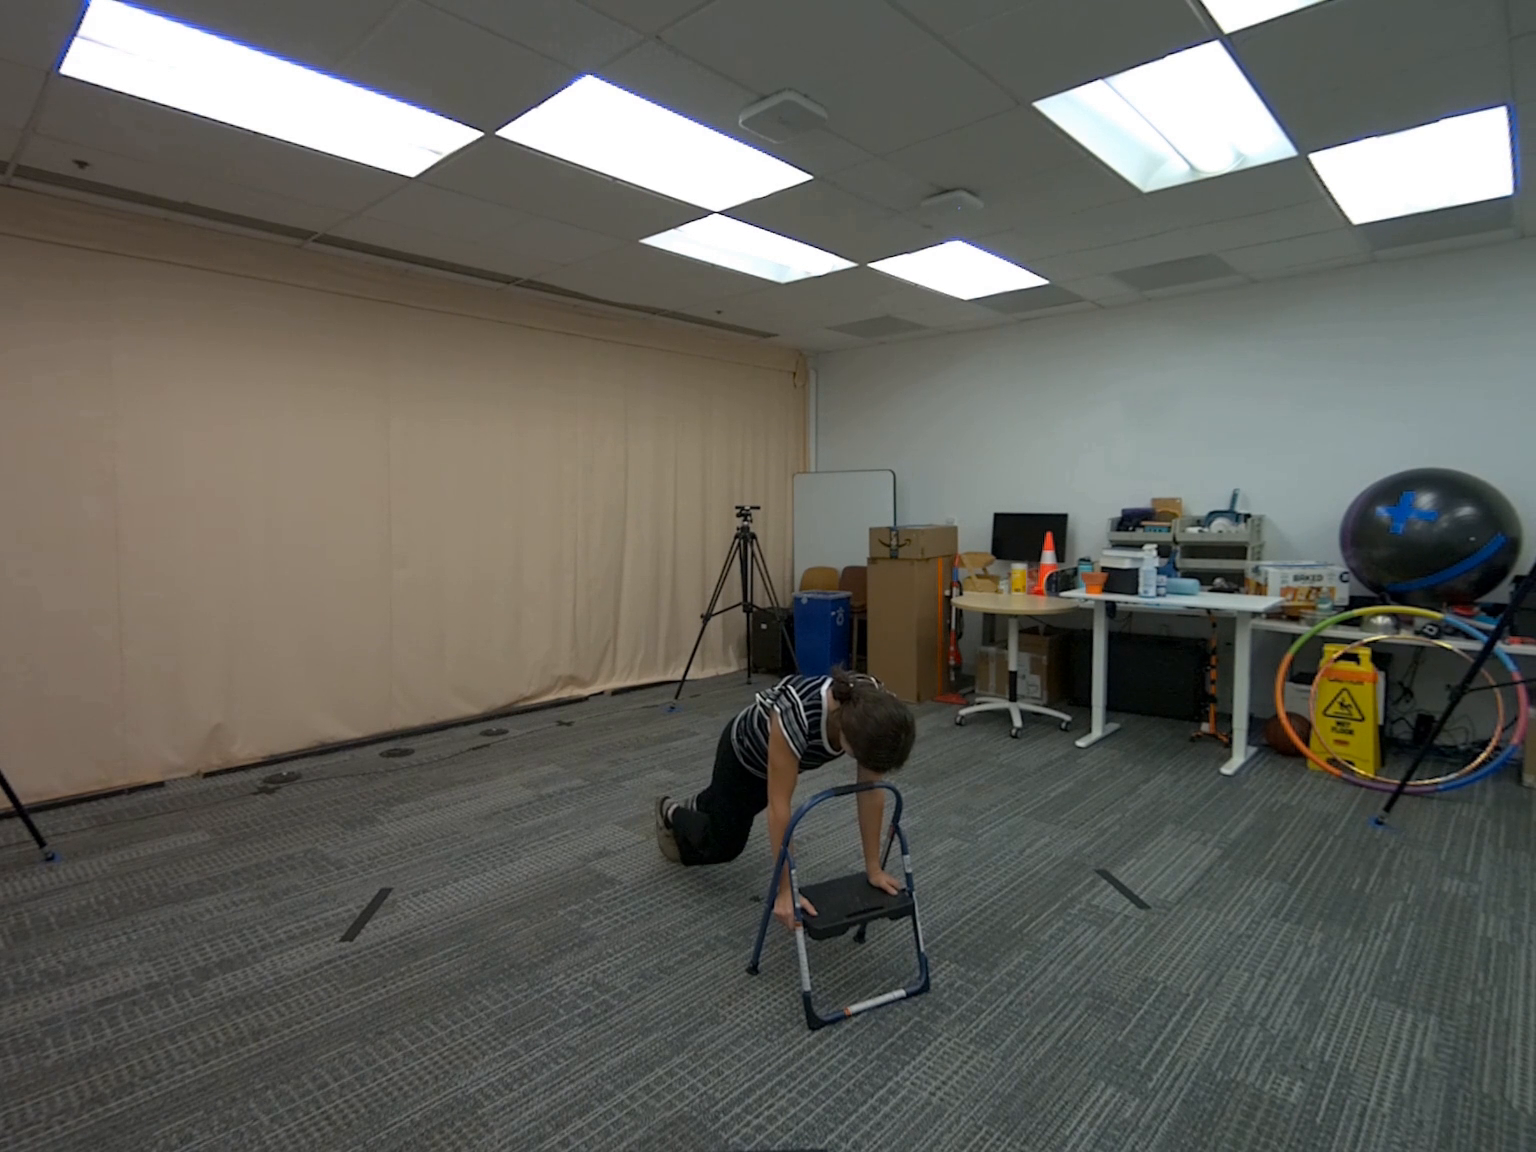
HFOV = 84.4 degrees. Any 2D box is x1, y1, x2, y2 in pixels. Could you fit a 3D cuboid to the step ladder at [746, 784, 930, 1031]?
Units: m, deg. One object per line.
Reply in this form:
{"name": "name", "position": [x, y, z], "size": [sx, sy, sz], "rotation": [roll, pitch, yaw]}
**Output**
{"name": "step ladder", "position": [0.211, 0.889, 2.453], "size": [0.419, 0.604, 0.359], "rotation": [-2, 5, -30]}
